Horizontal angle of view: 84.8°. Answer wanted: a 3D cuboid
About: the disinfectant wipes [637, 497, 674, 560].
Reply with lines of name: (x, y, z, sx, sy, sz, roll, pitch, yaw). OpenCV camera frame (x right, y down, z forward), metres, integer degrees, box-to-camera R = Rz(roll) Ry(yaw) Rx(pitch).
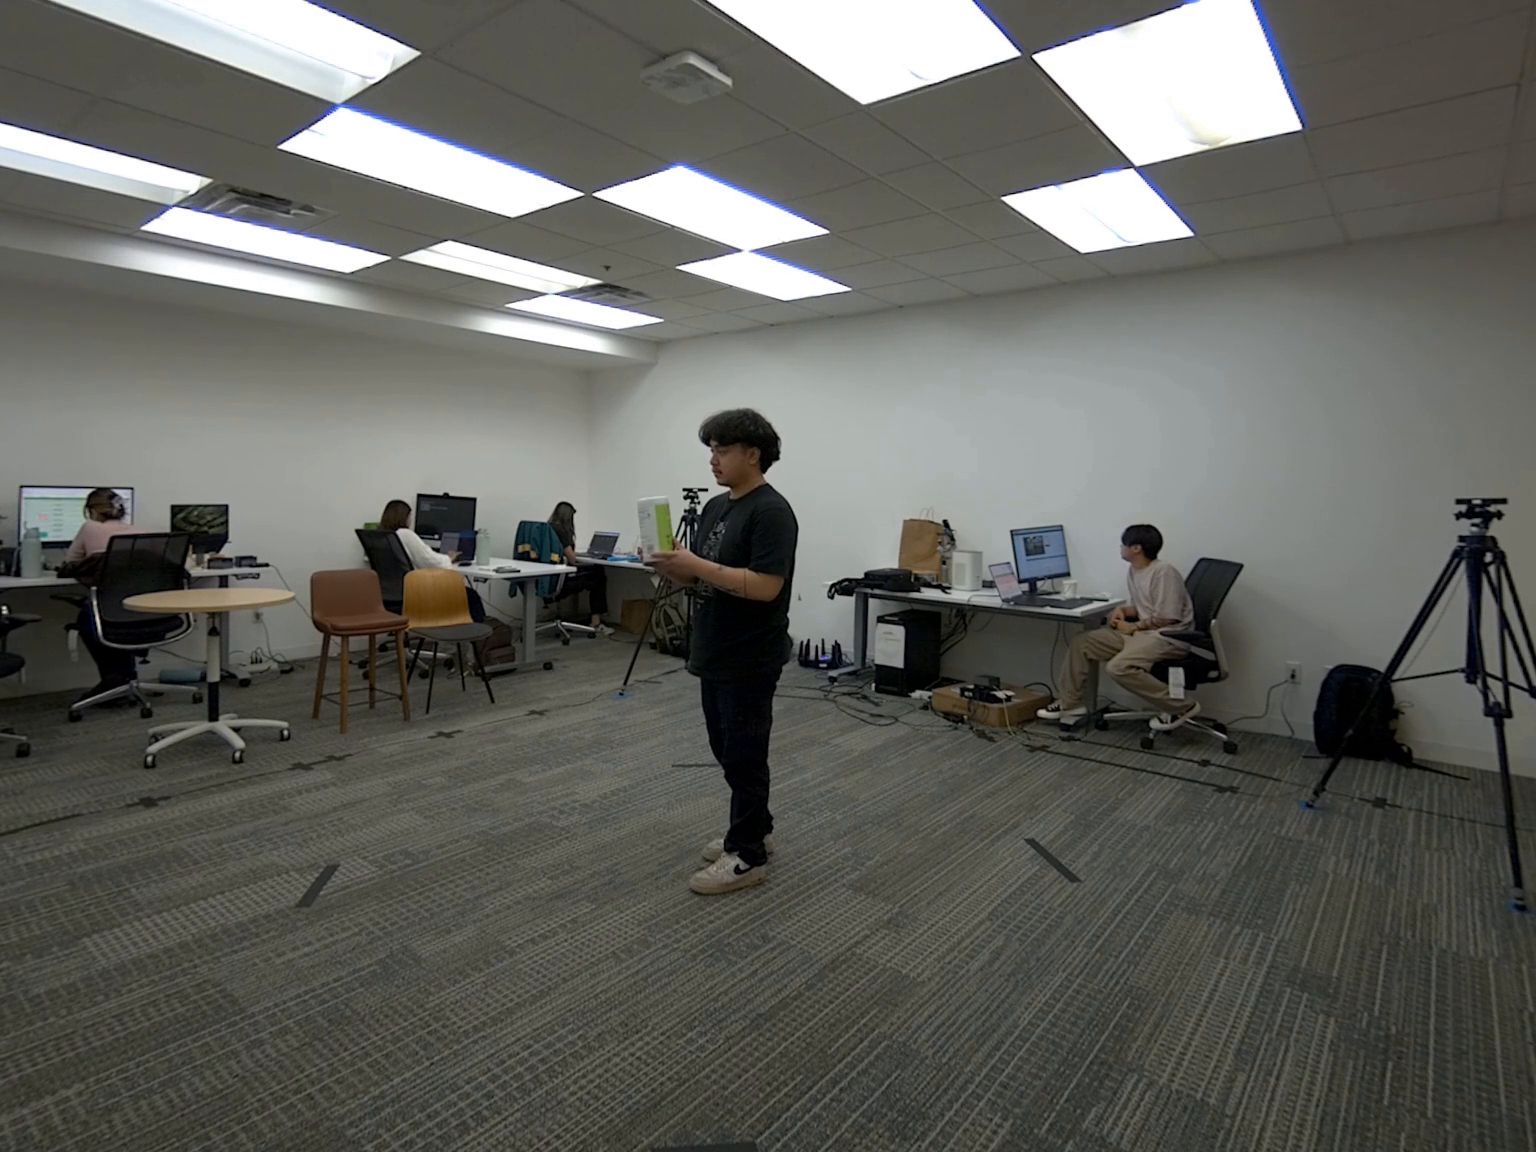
disinfectant wipes: (-0.384, -0.159, 2.885, 0.118, 0.217, 0.118, -6, 2, -2)
